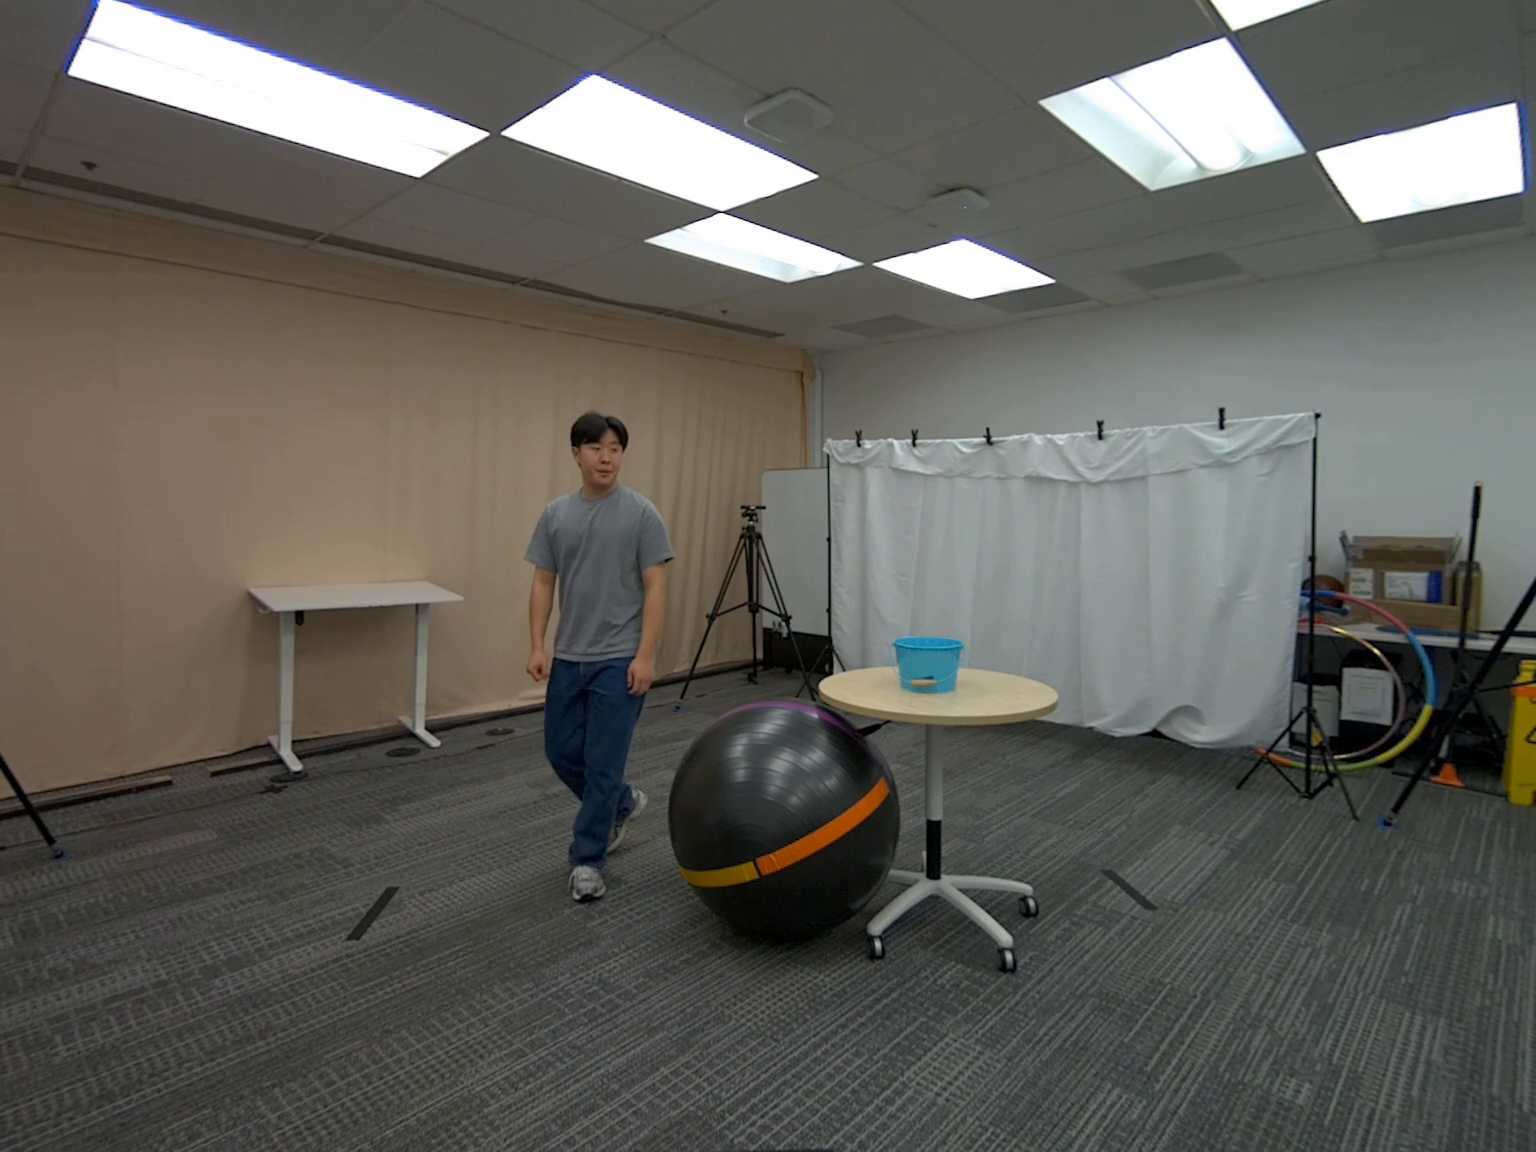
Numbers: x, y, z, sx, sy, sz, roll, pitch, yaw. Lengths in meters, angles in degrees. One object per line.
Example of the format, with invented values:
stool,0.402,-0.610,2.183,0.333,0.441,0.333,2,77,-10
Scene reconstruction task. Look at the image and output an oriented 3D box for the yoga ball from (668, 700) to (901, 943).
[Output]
yoga ball,0.049,0.789,2.782,0.757,0.756,0.760,0,4,-2
